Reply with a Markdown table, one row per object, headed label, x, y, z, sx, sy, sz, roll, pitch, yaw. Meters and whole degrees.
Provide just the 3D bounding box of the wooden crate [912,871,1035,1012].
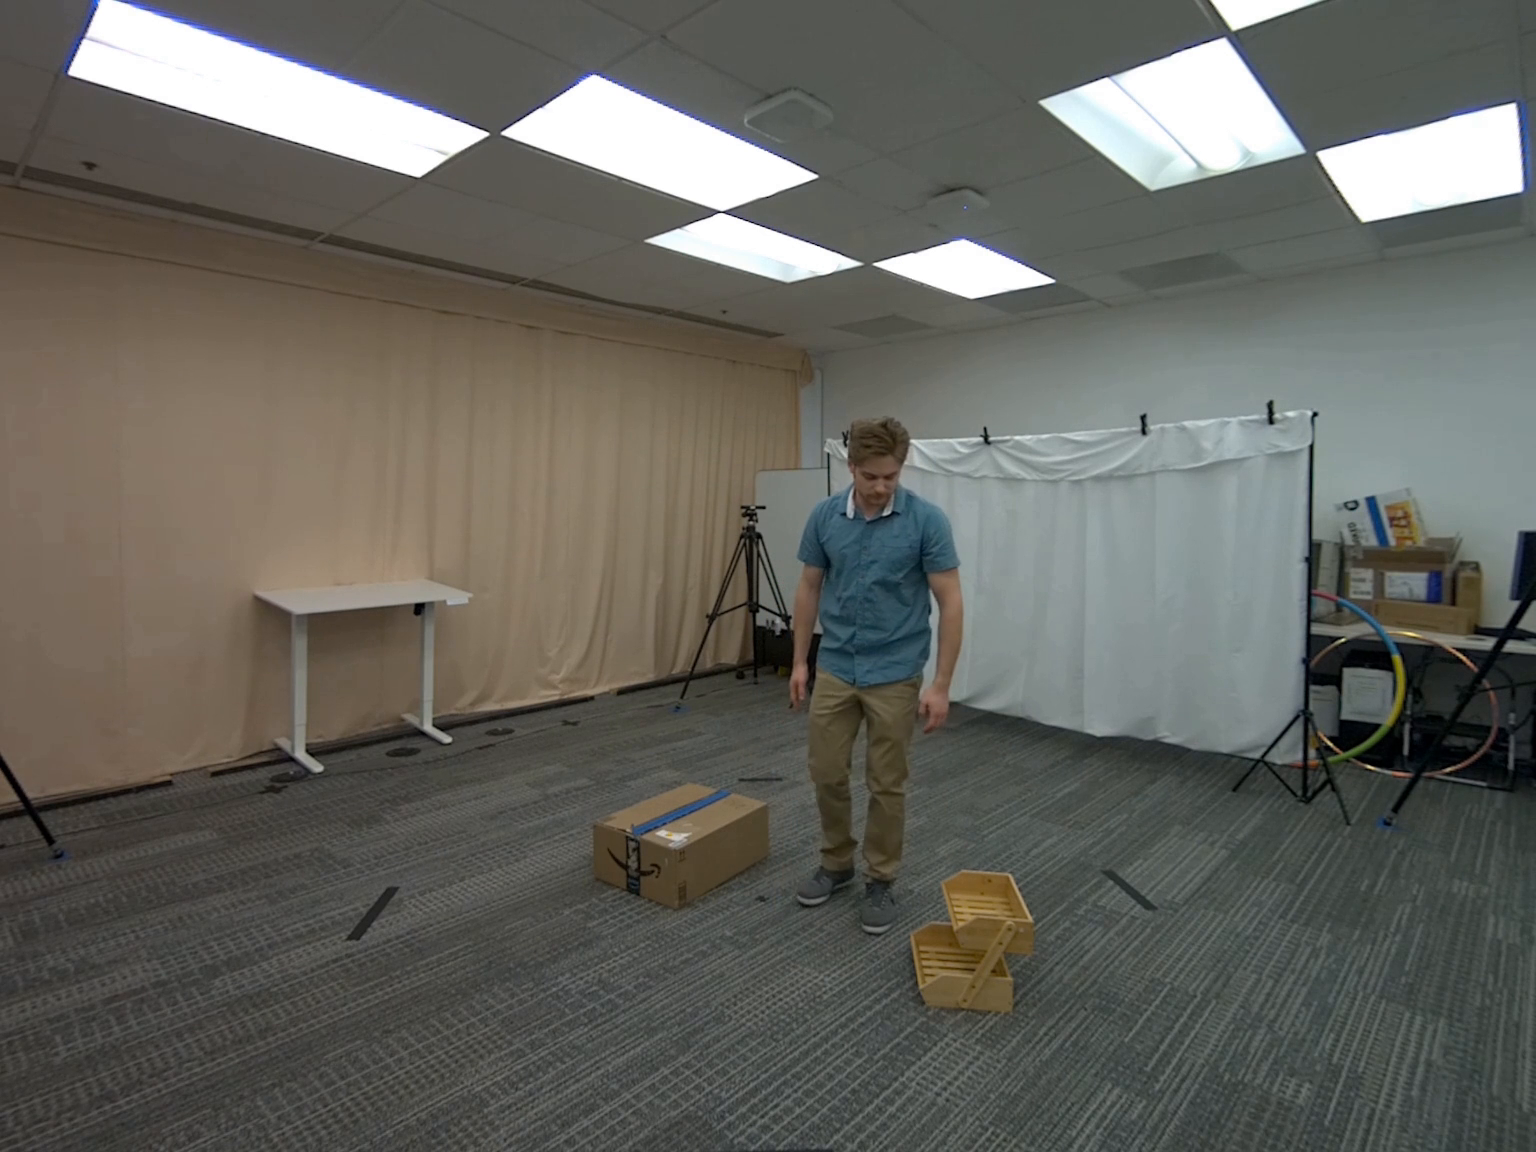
| label | x | y | z | sx | sy | sz | roll | pitch | yaw |
| --- | --- | --- | --- | --- | --- | --- | --- | --- | --- |
| wooden crate | 0.586 | 1.050 | 2.462 | 0.304 | 0.273 | 0.323 | 1 | 4 | 6 |
